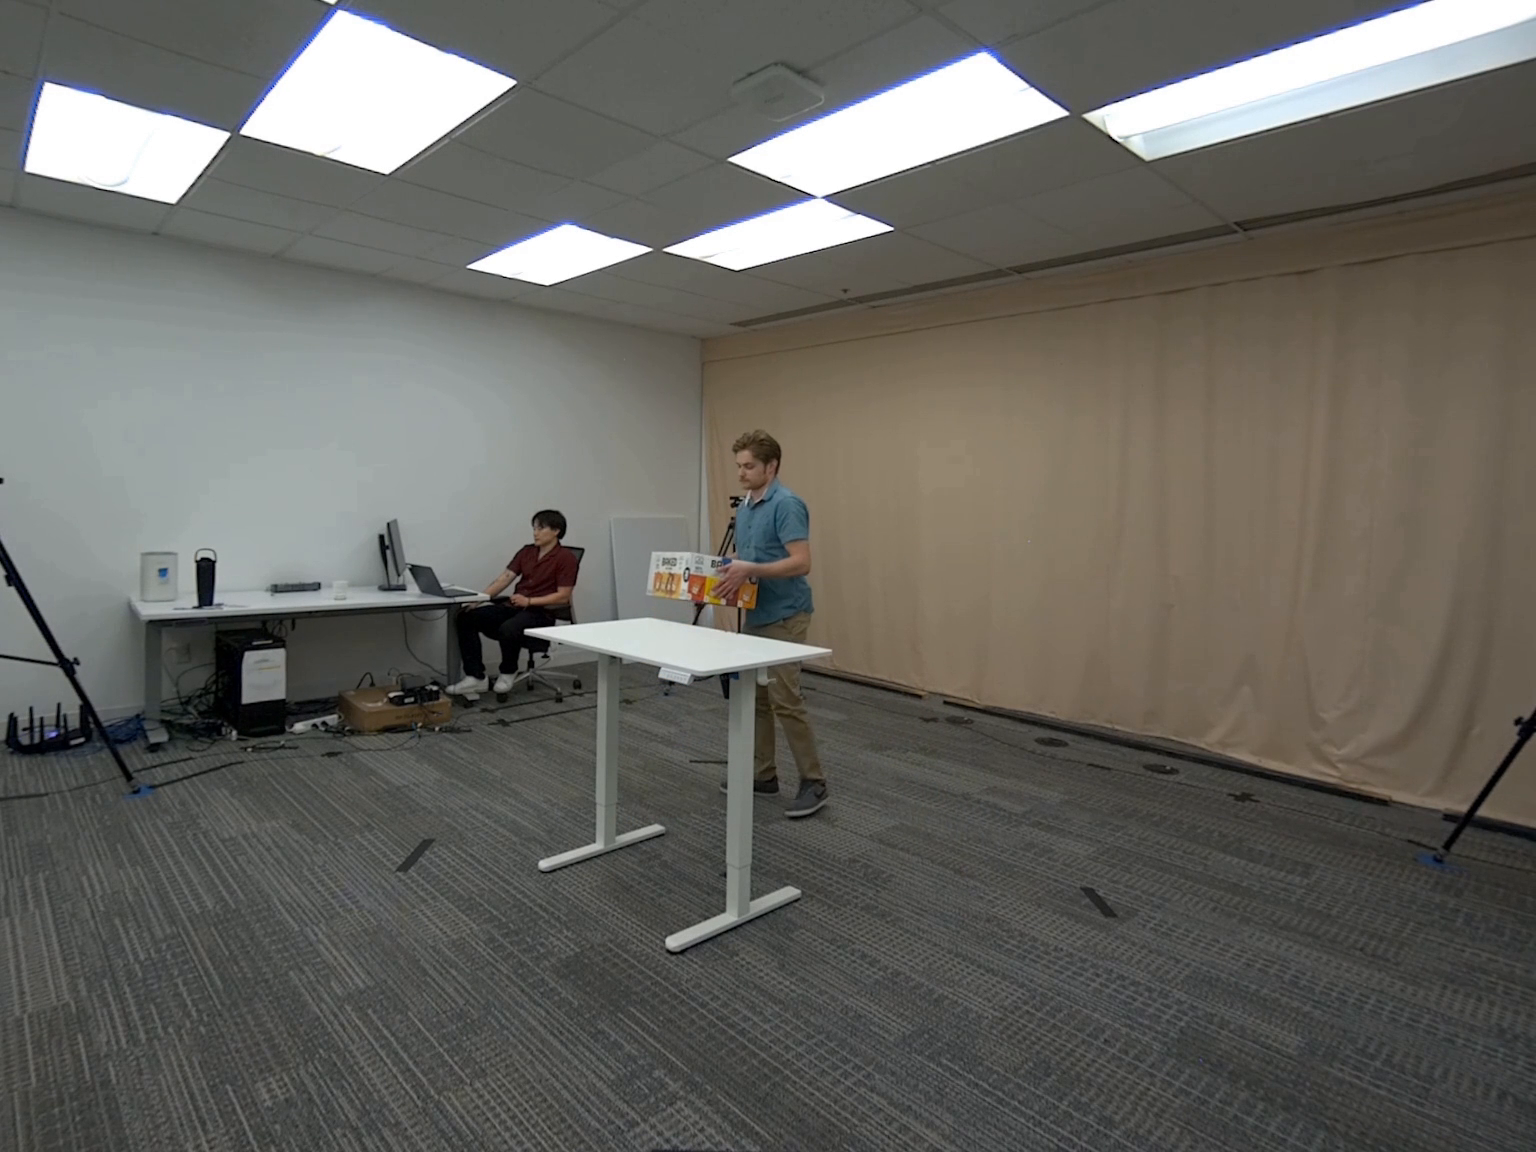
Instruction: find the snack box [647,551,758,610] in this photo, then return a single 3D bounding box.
[{"bbox_3d":[-0.300,0.019,3.763,0.332,0.206,0.414,10,-4,-30],"label":"snack box"}]
